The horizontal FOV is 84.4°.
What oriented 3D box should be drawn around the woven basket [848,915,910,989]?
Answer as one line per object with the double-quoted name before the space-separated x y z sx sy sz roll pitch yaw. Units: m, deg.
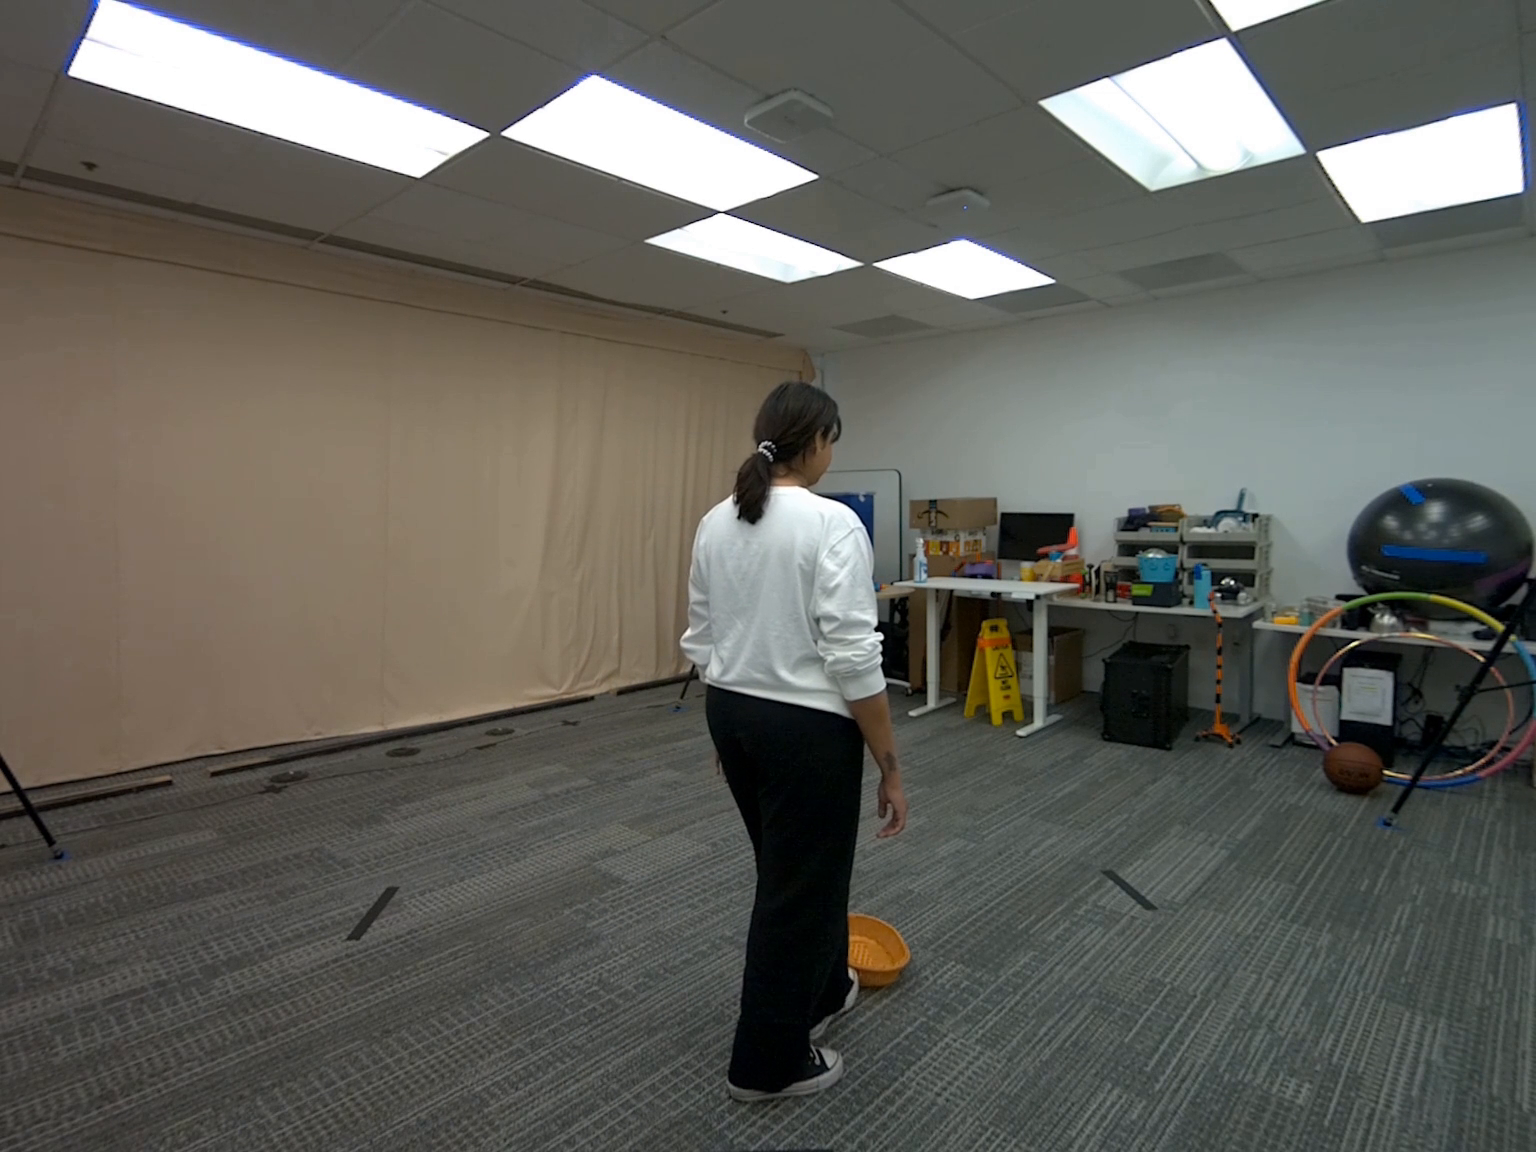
"woven basket" 0.294 1.139 2.559 0.250 0.073 0.353 2 3 -8
